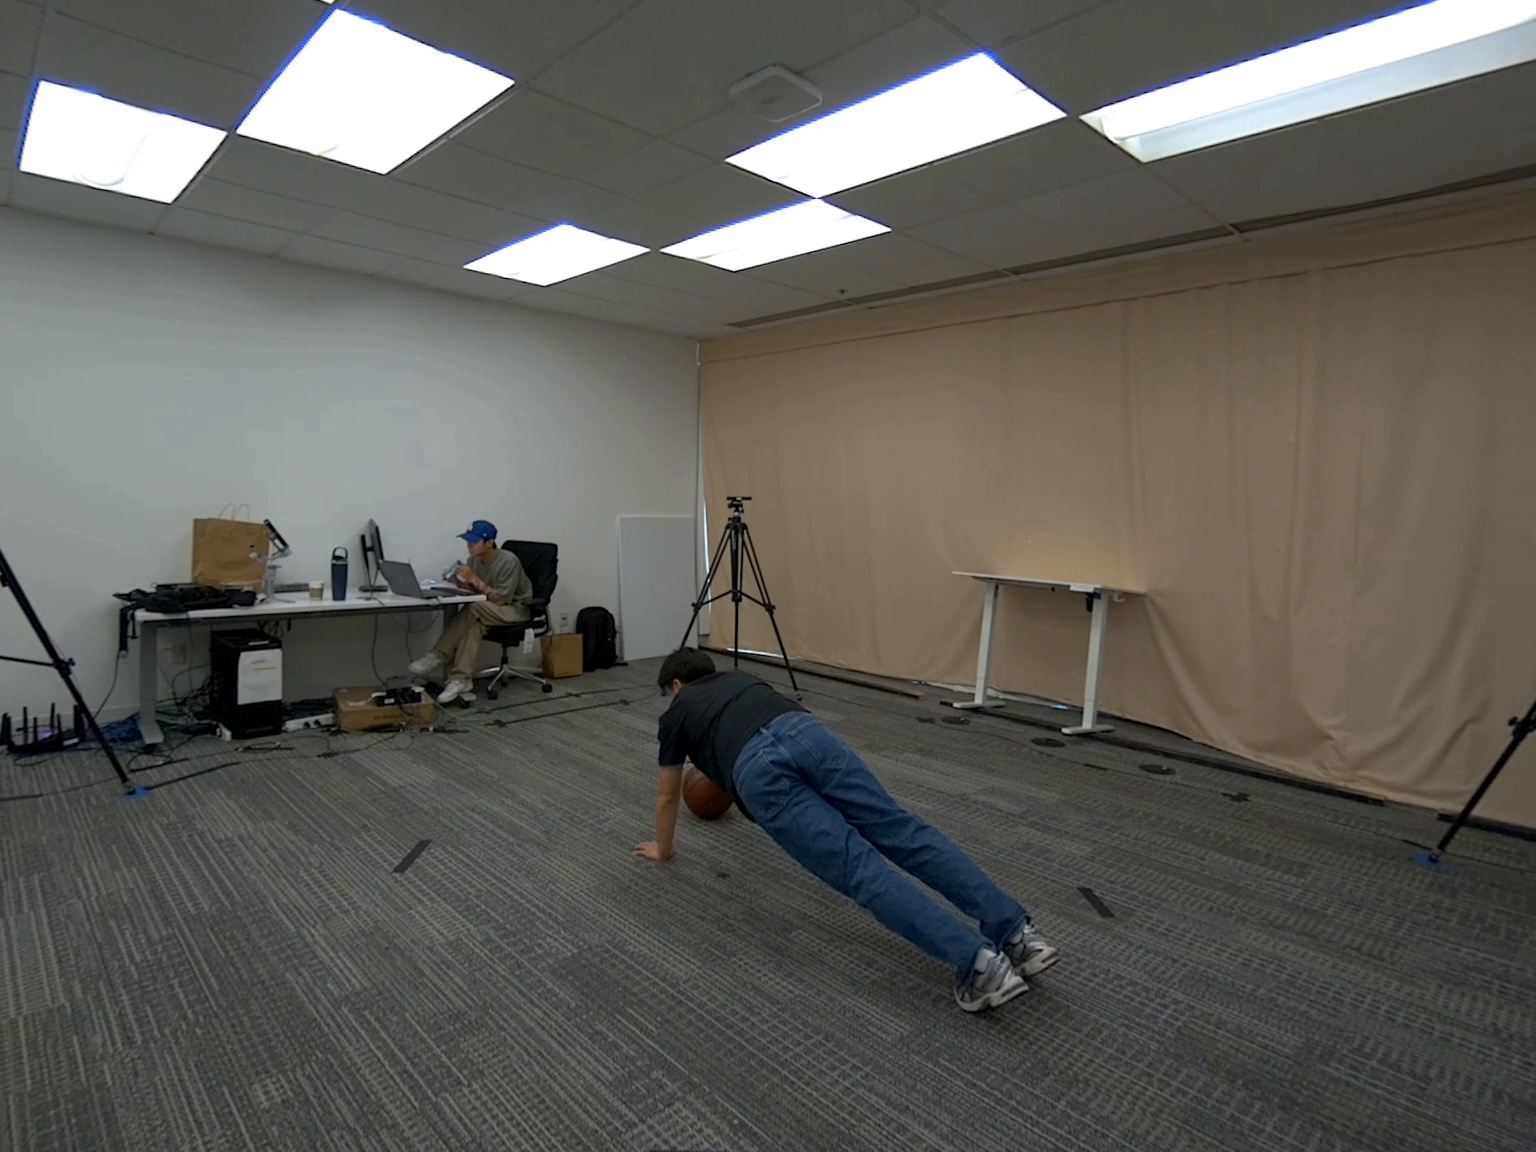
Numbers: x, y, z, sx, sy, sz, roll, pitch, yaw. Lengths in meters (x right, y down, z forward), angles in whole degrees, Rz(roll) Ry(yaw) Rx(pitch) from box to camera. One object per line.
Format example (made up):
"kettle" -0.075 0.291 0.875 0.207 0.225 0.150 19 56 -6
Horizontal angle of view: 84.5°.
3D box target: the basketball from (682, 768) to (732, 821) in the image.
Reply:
"basketball" -0.267 0.934 3.687 0.236 0.235 0.237 1 4 -1
